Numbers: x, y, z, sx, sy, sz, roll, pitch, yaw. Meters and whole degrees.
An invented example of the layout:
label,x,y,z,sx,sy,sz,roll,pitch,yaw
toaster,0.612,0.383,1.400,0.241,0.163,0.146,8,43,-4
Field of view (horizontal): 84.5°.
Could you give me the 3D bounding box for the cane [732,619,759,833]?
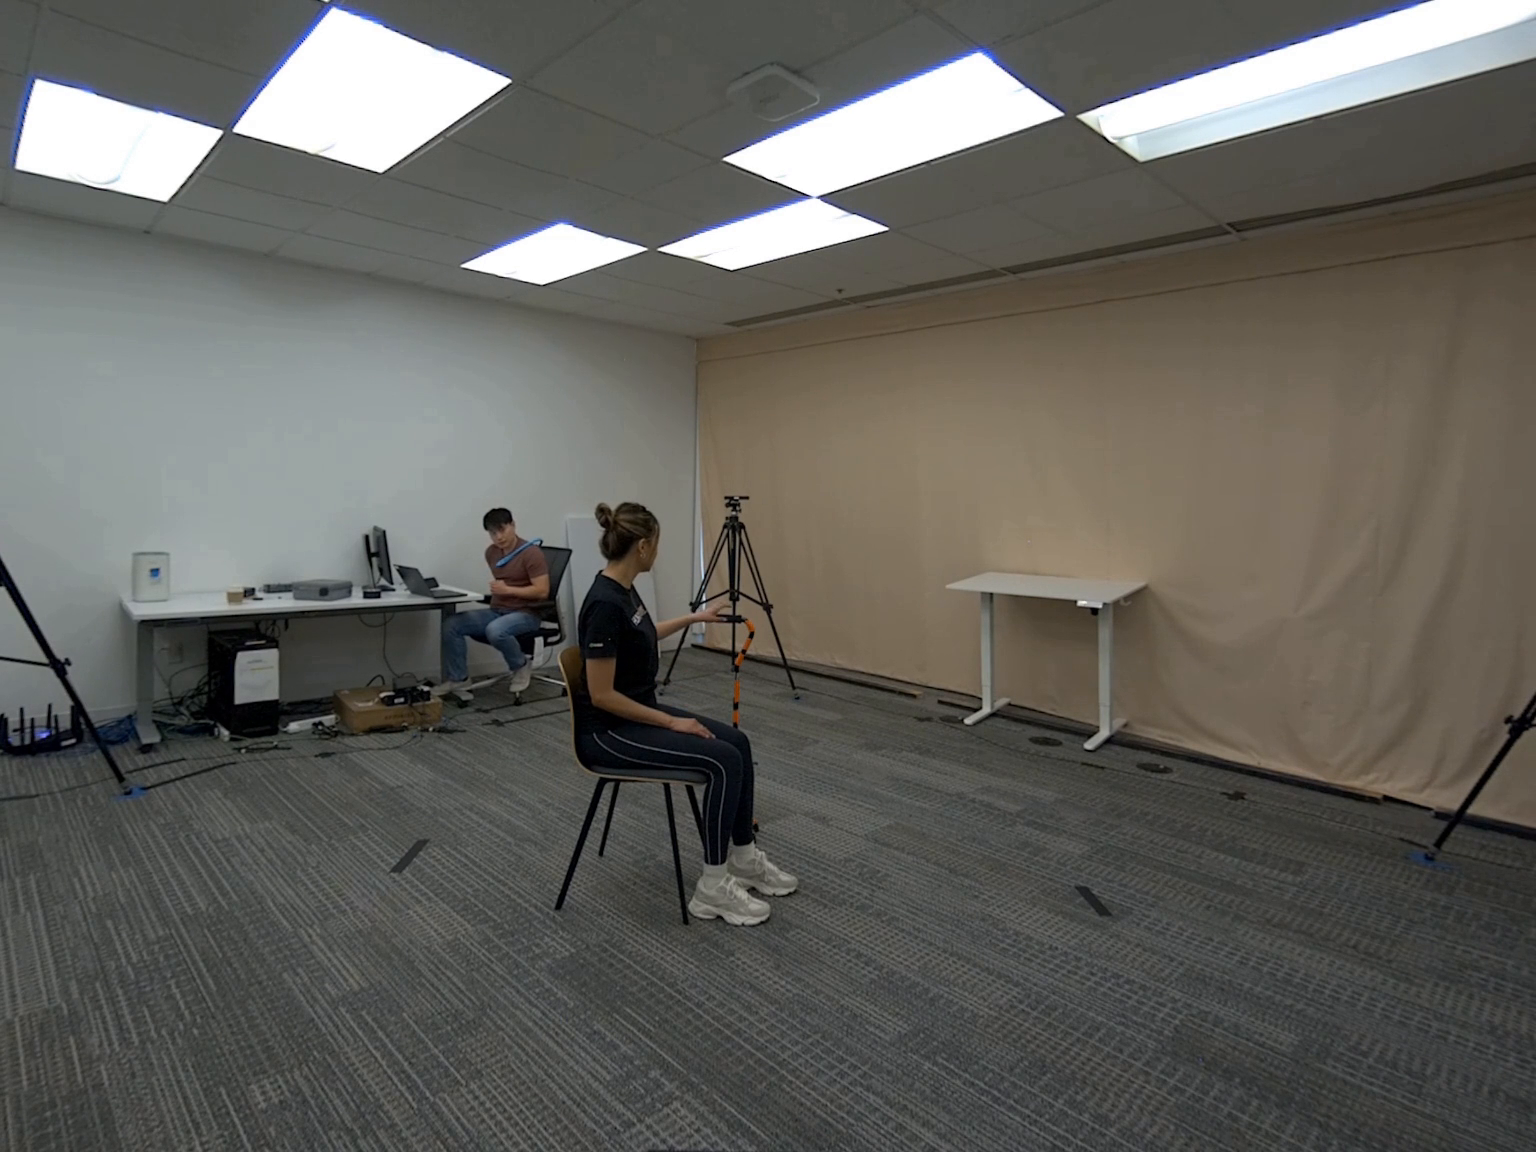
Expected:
label,x,y,z,sx,sy,sz,roll,pitch,yaw
cane,-0.136,0.619,3.457,0.207,0.906,0.151,2,3,4
